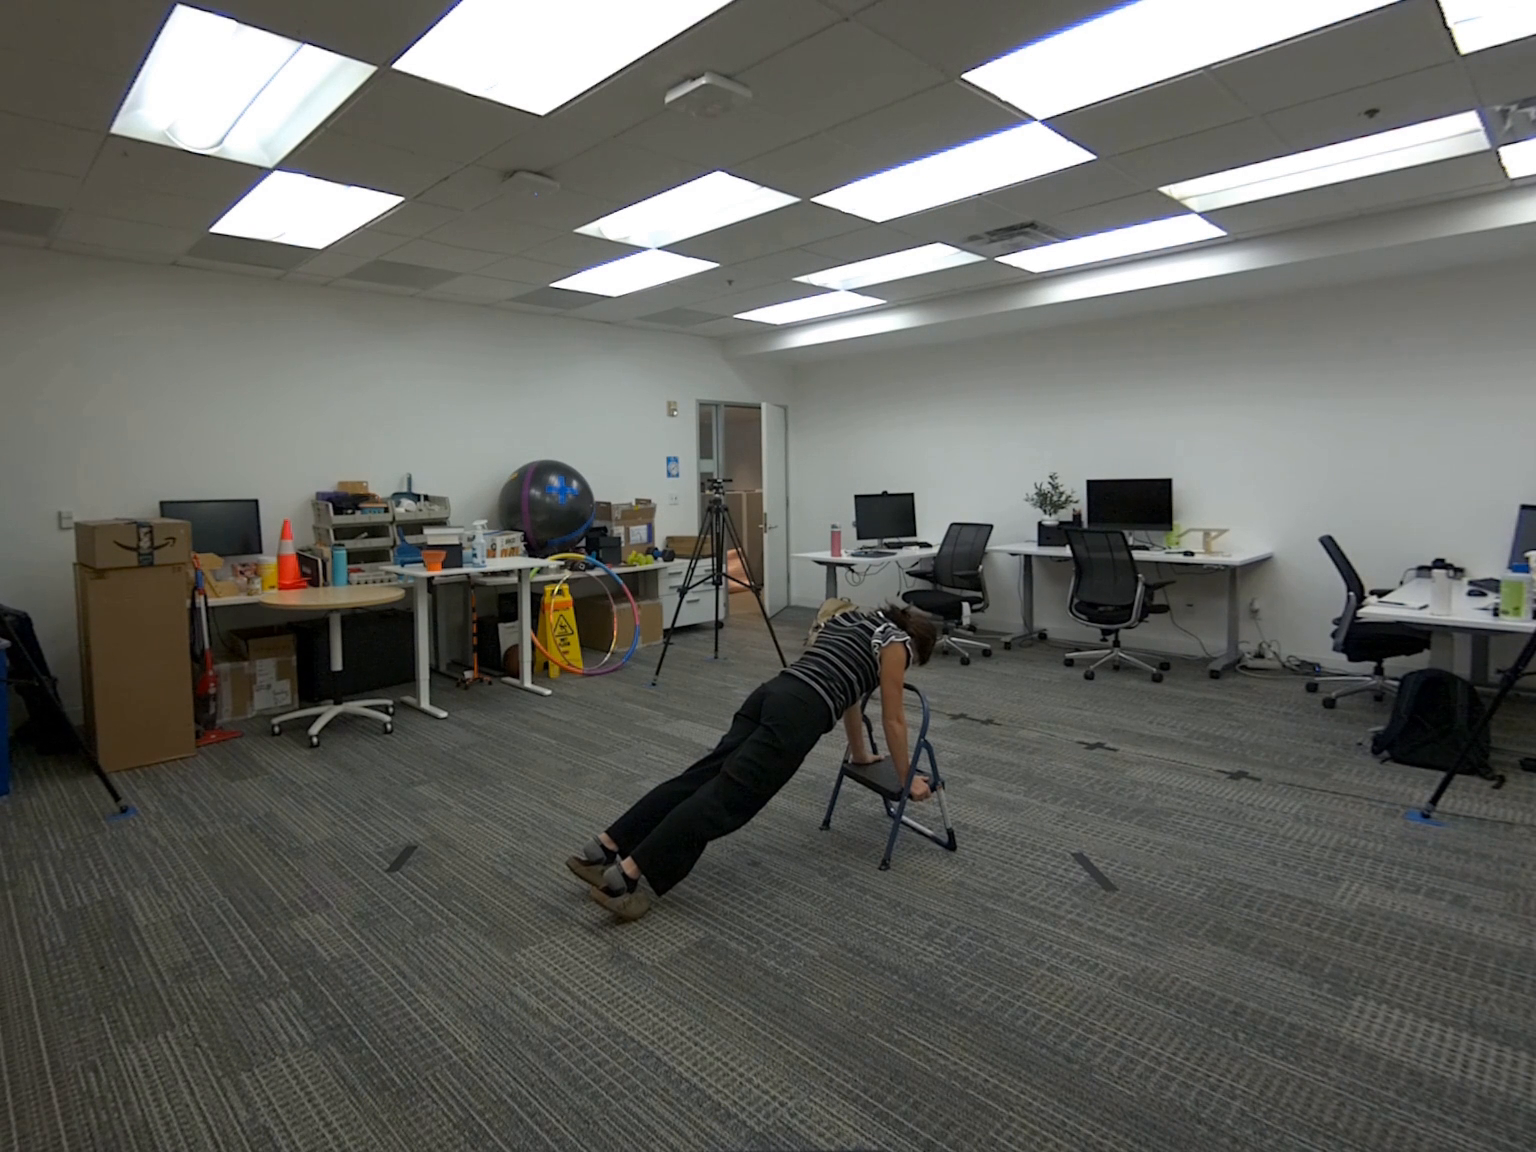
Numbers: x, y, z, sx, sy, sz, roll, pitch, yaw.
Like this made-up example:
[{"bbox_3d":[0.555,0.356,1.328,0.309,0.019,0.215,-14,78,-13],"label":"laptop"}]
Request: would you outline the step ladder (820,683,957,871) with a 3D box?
[{"bbox_3d":[0.456,0.716,3.280,0.341,0.604,0.442,-2,5,-28],"label":"step ladder"}]
